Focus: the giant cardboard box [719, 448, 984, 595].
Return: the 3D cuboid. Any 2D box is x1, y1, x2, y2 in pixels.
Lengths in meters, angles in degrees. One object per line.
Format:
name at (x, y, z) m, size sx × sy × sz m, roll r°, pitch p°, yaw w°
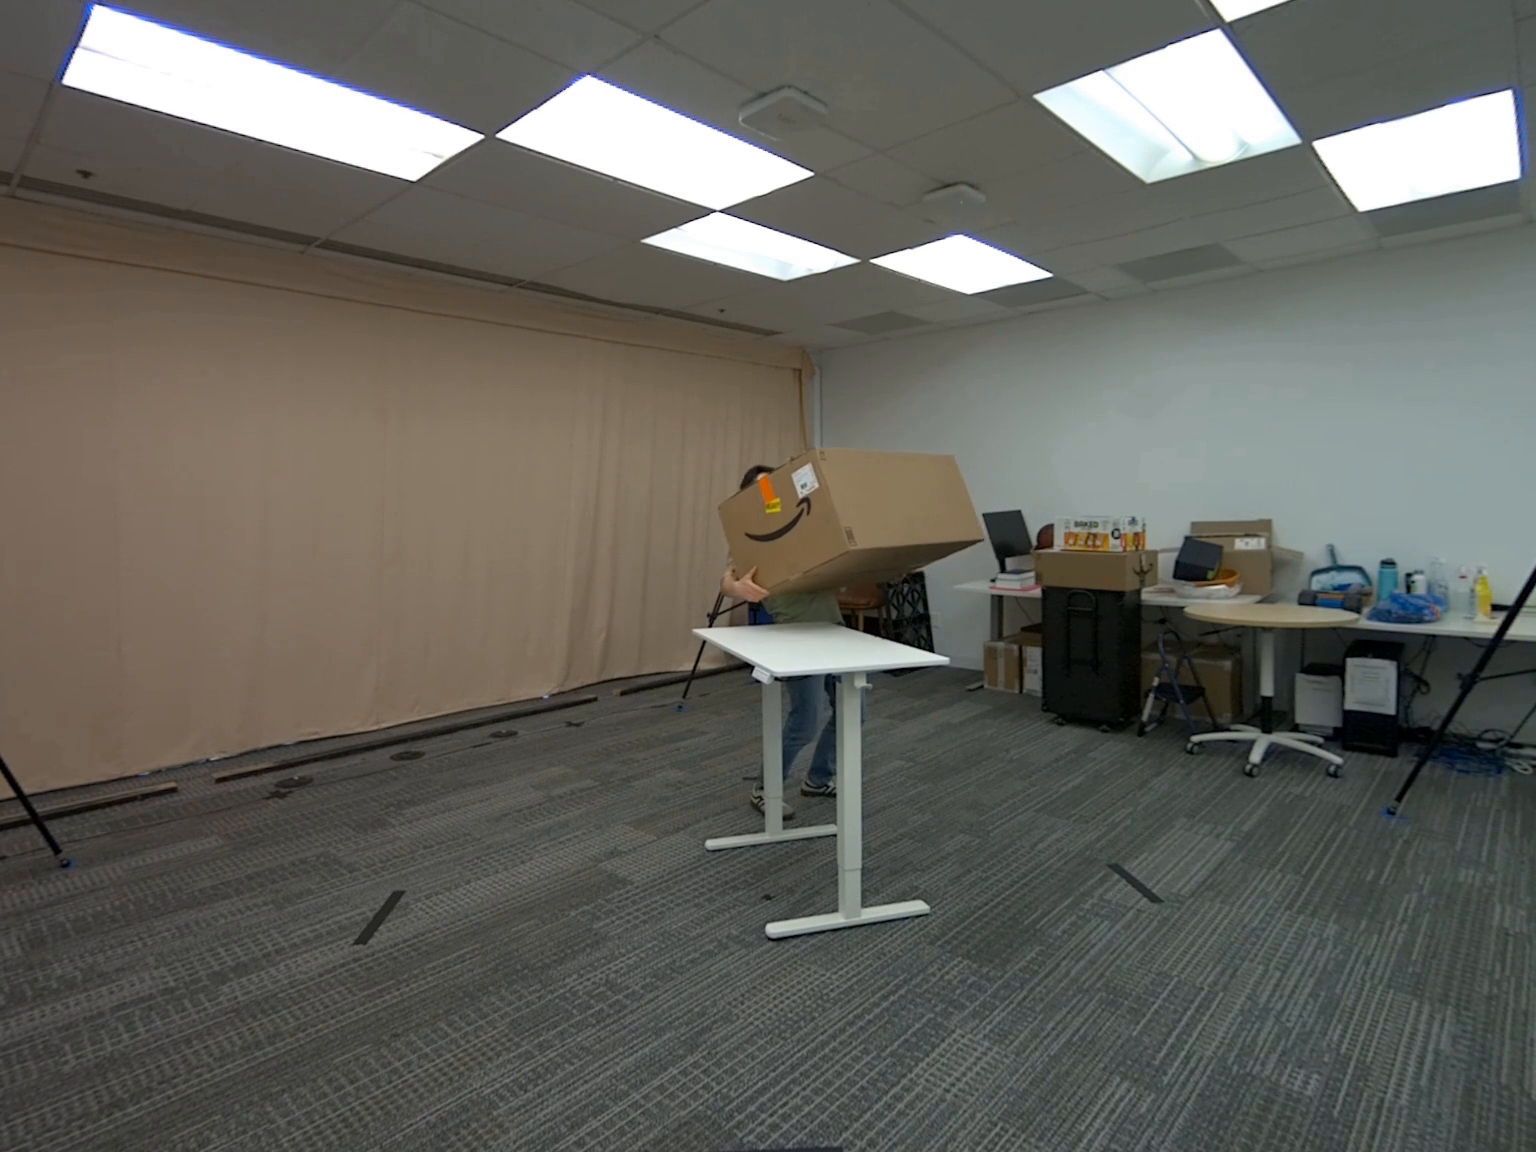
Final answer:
giant cardboard box at (0.384, -0.236, 3.662) m, size 0.995 × 0.431 × 0.588 m, roll -6°, pitch -17°, yaw -46°
